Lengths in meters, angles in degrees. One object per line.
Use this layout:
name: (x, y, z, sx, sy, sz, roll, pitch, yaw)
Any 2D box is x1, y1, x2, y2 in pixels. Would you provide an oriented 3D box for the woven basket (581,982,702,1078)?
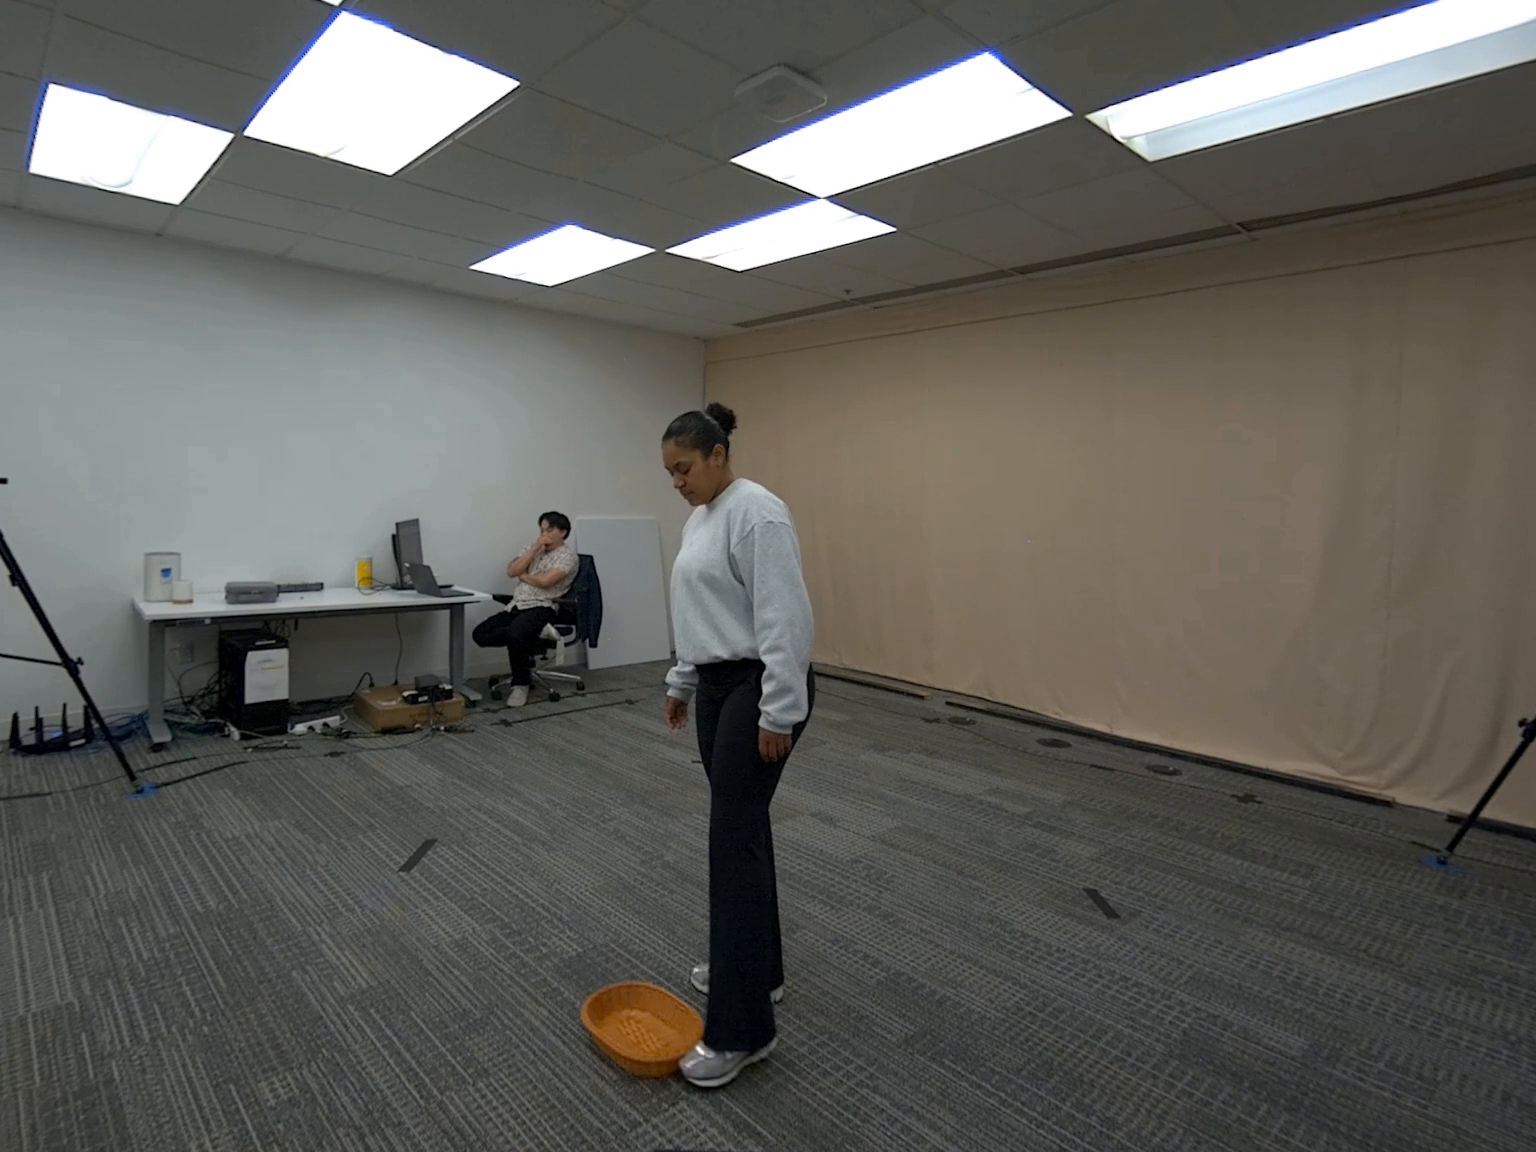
woven basket: (-0.321, 1.152, 2.153, 0.246, 0.073, 0.359, -3, 7, -43)
